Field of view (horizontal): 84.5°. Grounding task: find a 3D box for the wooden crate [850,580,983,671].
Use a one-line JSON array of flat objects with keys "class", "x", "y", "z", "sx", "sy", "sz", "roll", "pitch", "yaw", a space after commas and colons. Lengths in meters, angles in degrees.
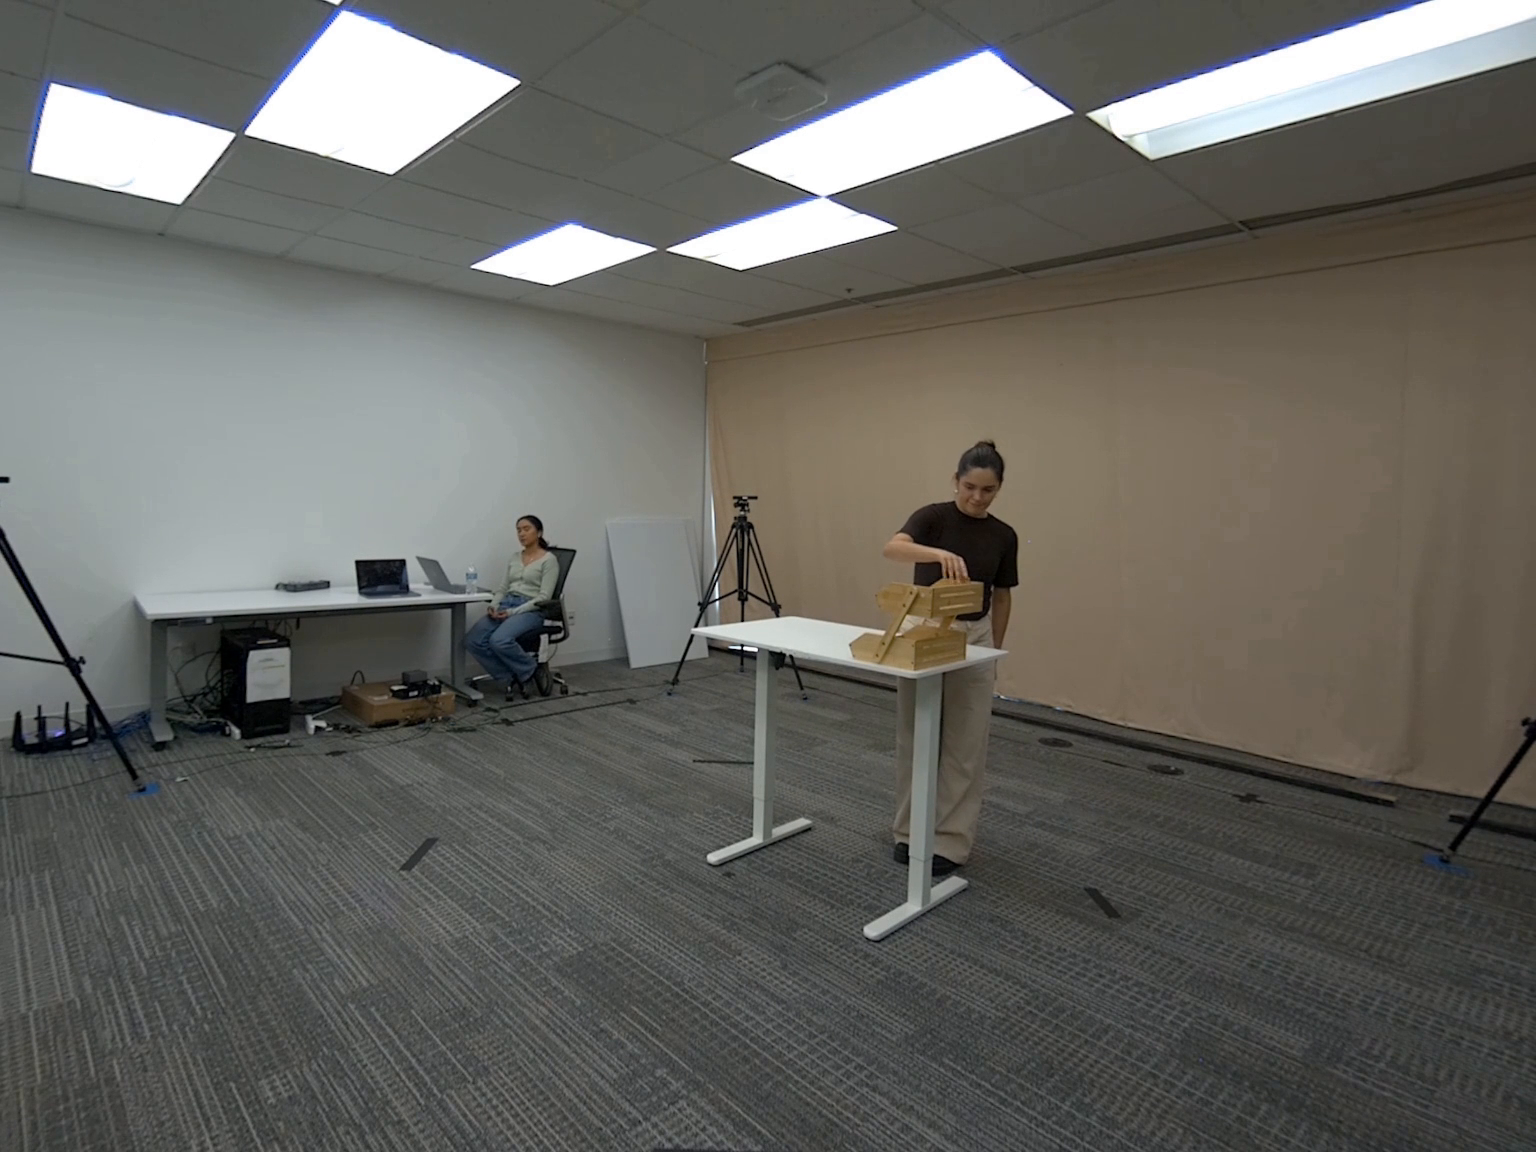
[{"class": "wooden crate", "x": 0.471, "y": 0.140, "z": 2.715, "sx": 0.310, "sy": 0.272, "sz": 0.317, "roll": 7, "pitch": 7, "yaw": 44}]
